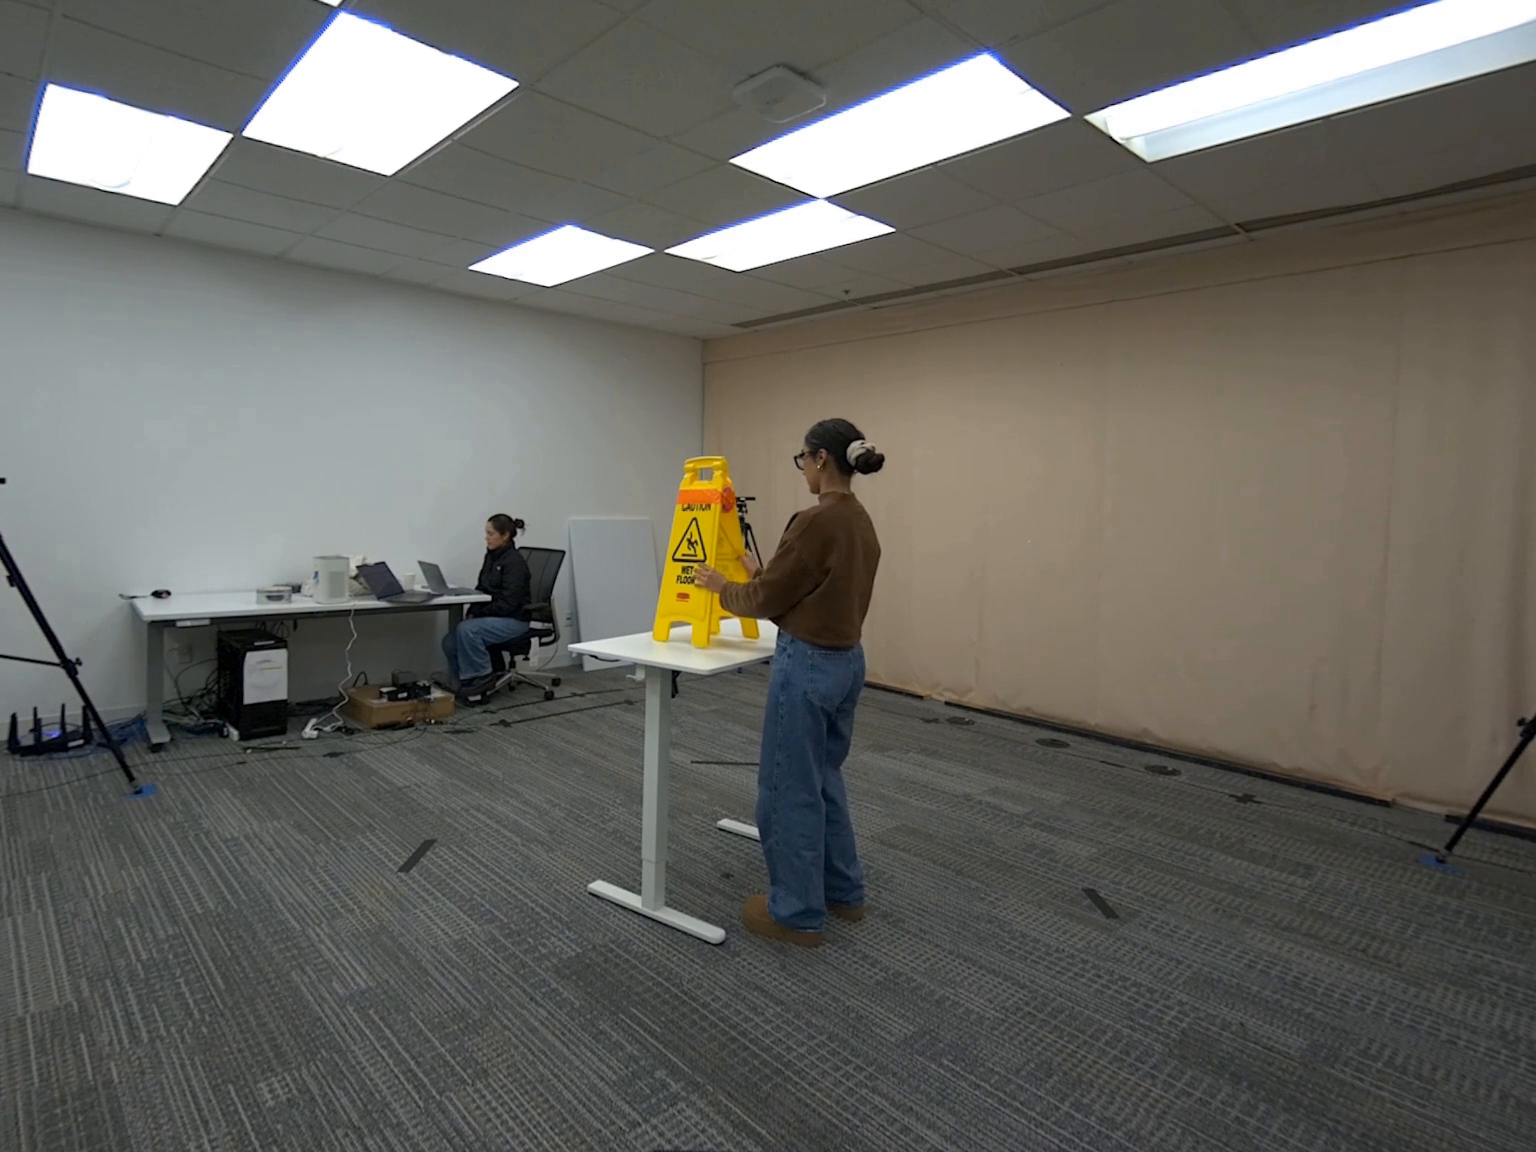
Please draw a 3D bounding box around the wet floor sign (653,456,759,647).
[{"bbox_3d":[-0.229,-0.095,2.990,0.289,0.645,0.283,1,2,44],"label":"wet floor sign"}]
